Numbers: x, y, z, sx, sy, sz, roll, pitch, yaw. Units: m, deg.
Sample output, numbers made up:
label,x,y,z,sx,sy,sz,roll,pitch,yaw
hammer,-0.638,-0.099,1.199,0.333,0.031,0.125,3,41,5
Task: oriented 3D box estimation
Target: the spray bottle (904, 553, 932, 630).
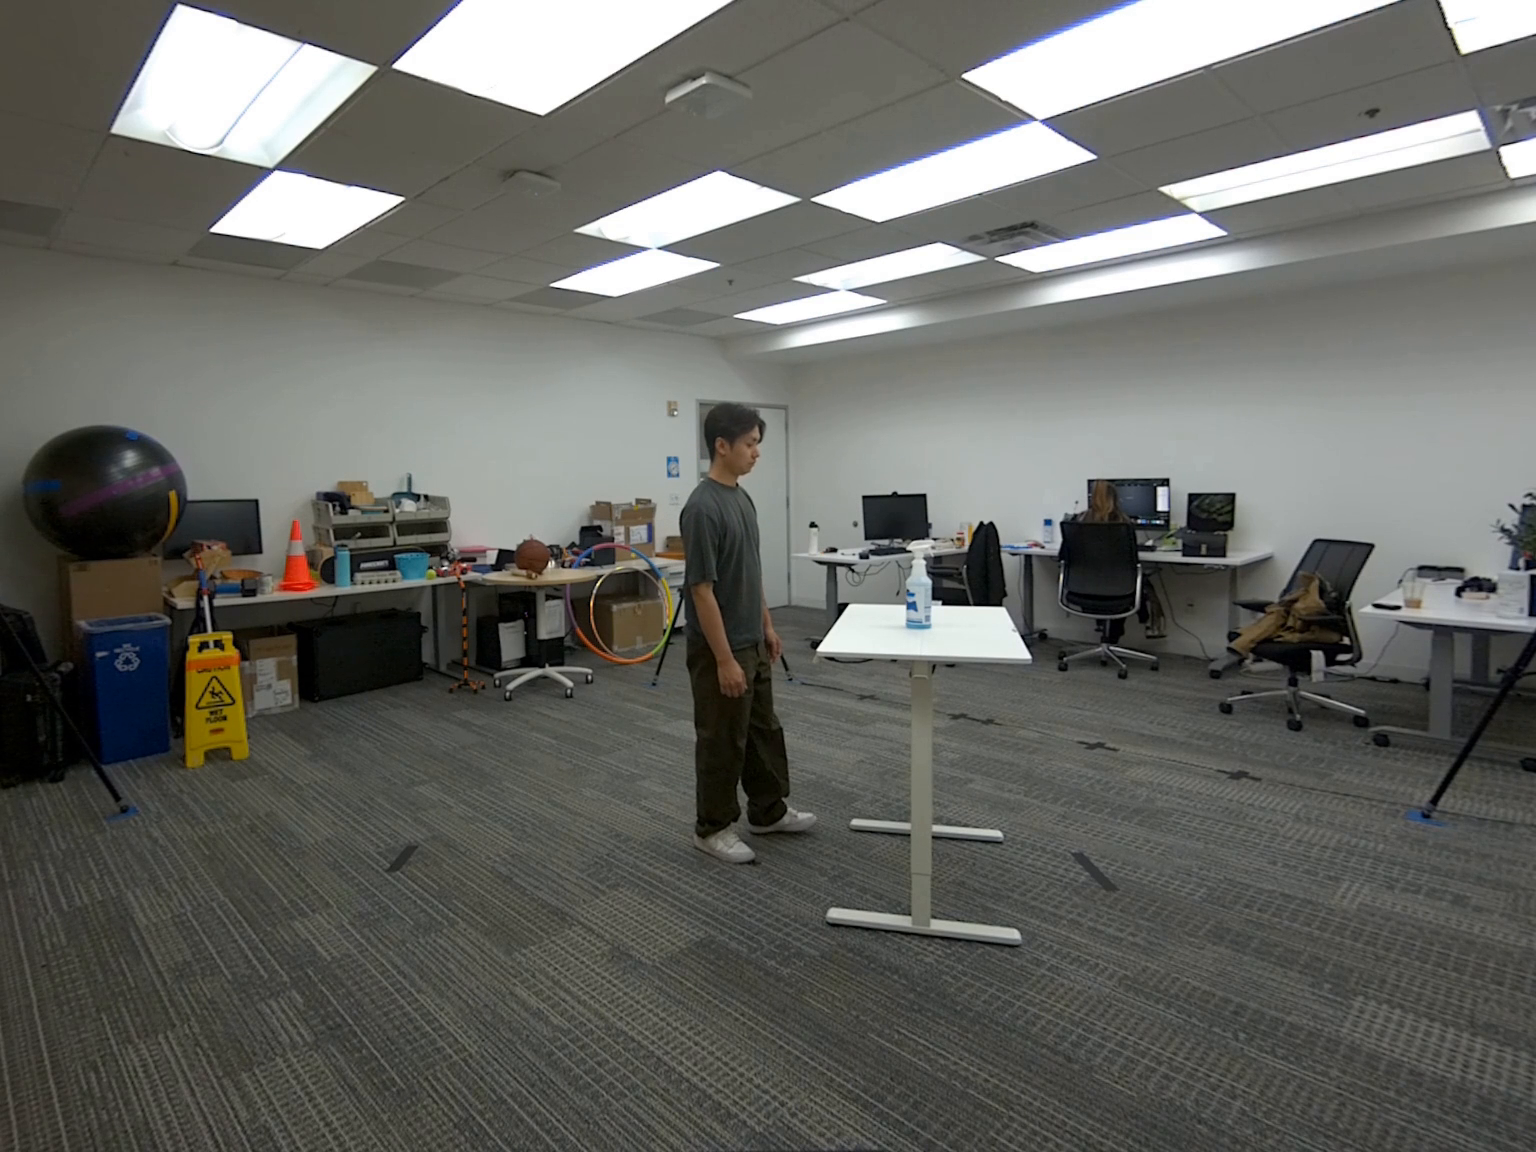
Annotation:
label,x,y,z,sx,sy,sz,roll,pitch,yaw
spray bottle,0.513,0.029,2.901,0.092,0.297,0.085,0,0,28
